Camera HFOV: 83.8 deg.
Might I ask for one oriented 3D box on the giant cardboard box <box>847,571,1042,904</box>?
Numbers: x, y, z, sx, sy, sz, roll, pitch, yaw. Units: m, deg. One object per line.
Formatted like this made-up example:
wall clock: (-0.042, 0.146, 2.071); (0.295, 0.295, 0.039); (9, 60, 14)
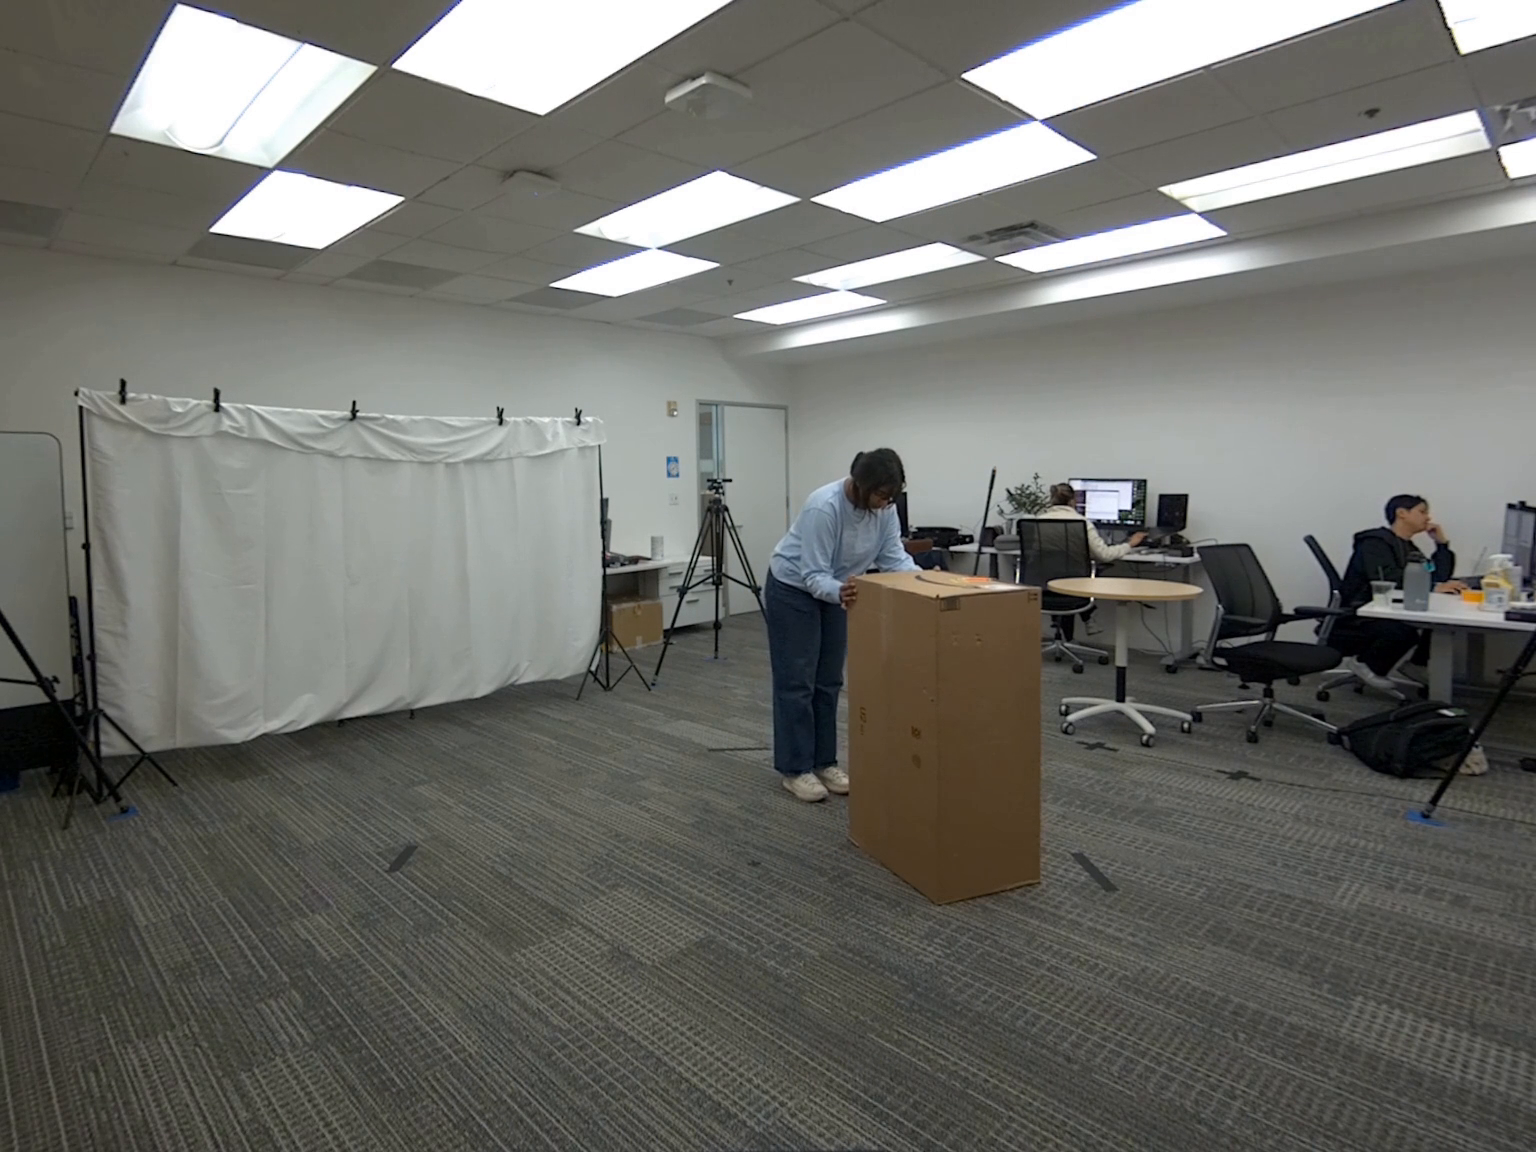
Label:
giant cardboard box: (0.620, 0.532, 3.080); (0.417, 1.022, 0.592); (-3, 5, -24)
